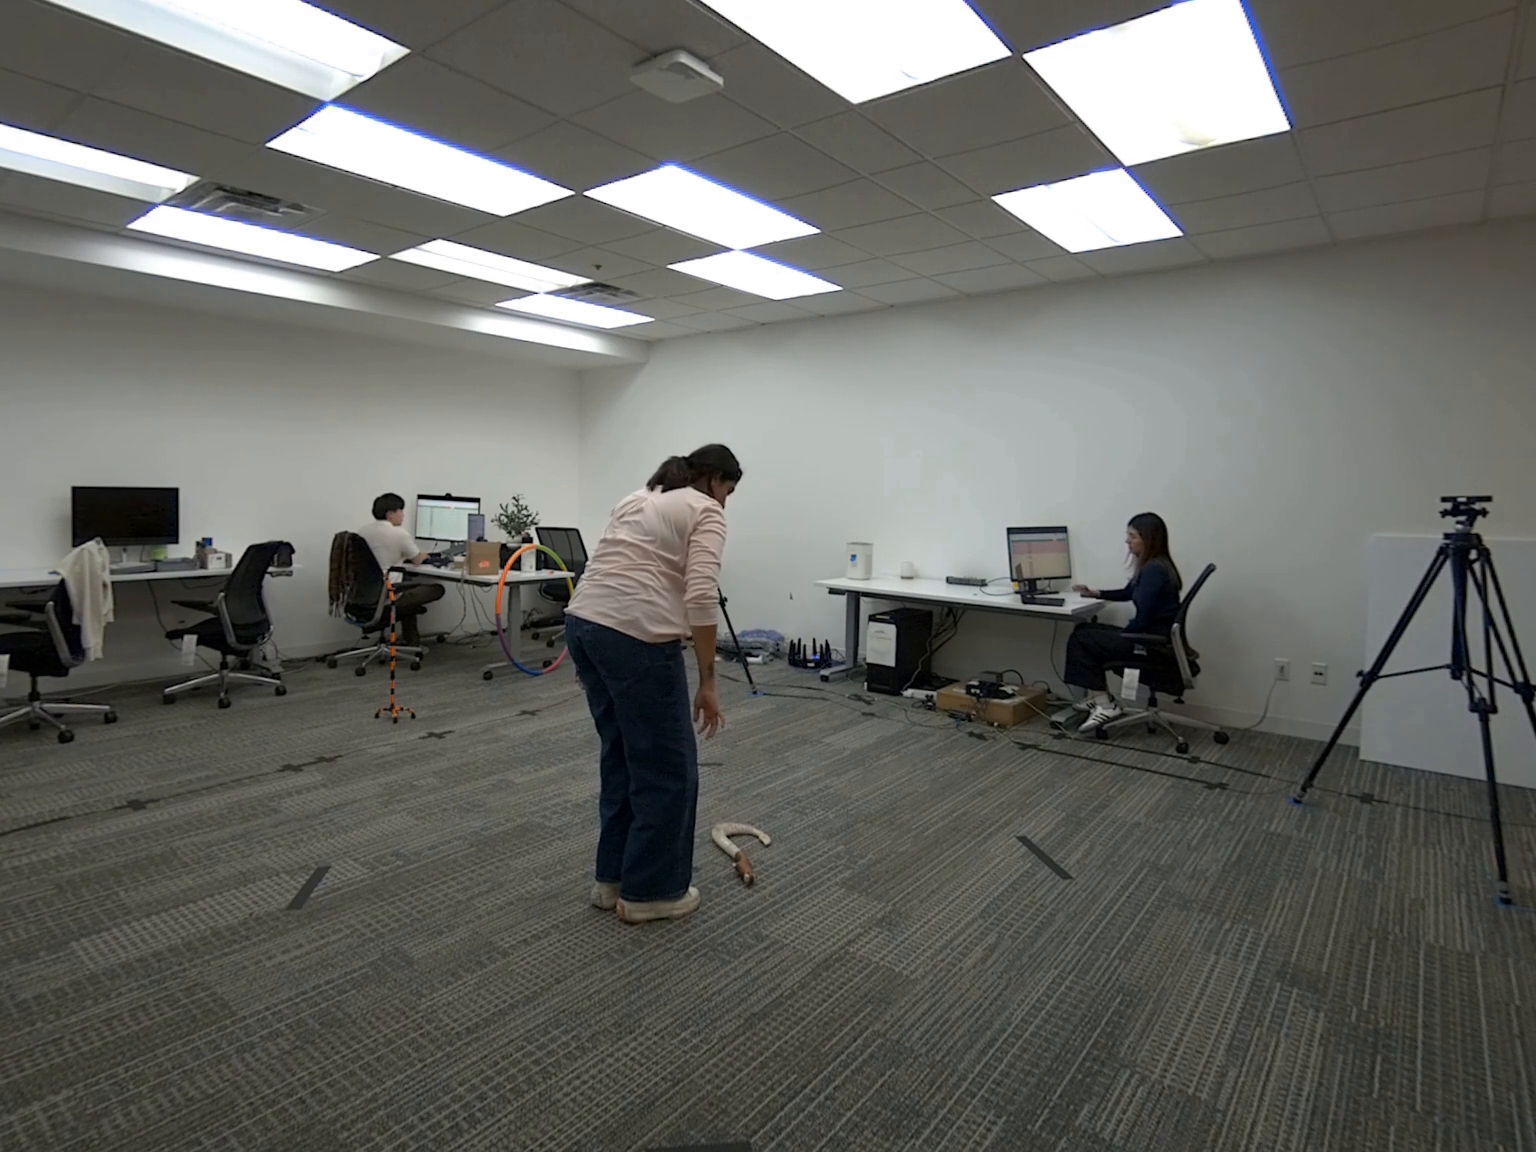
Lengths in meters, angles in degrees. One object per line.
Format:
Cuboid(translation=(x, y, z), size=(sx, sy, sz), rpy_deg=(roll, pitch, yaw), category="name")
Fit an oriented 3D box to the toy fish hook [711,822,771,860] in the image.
Cuboid(translation=(-0.084, 1.034, 3.214), size=(0.221, 0.048, 0.516), rpy_deg=(-2, 6, -14), category="toy fish hook")
